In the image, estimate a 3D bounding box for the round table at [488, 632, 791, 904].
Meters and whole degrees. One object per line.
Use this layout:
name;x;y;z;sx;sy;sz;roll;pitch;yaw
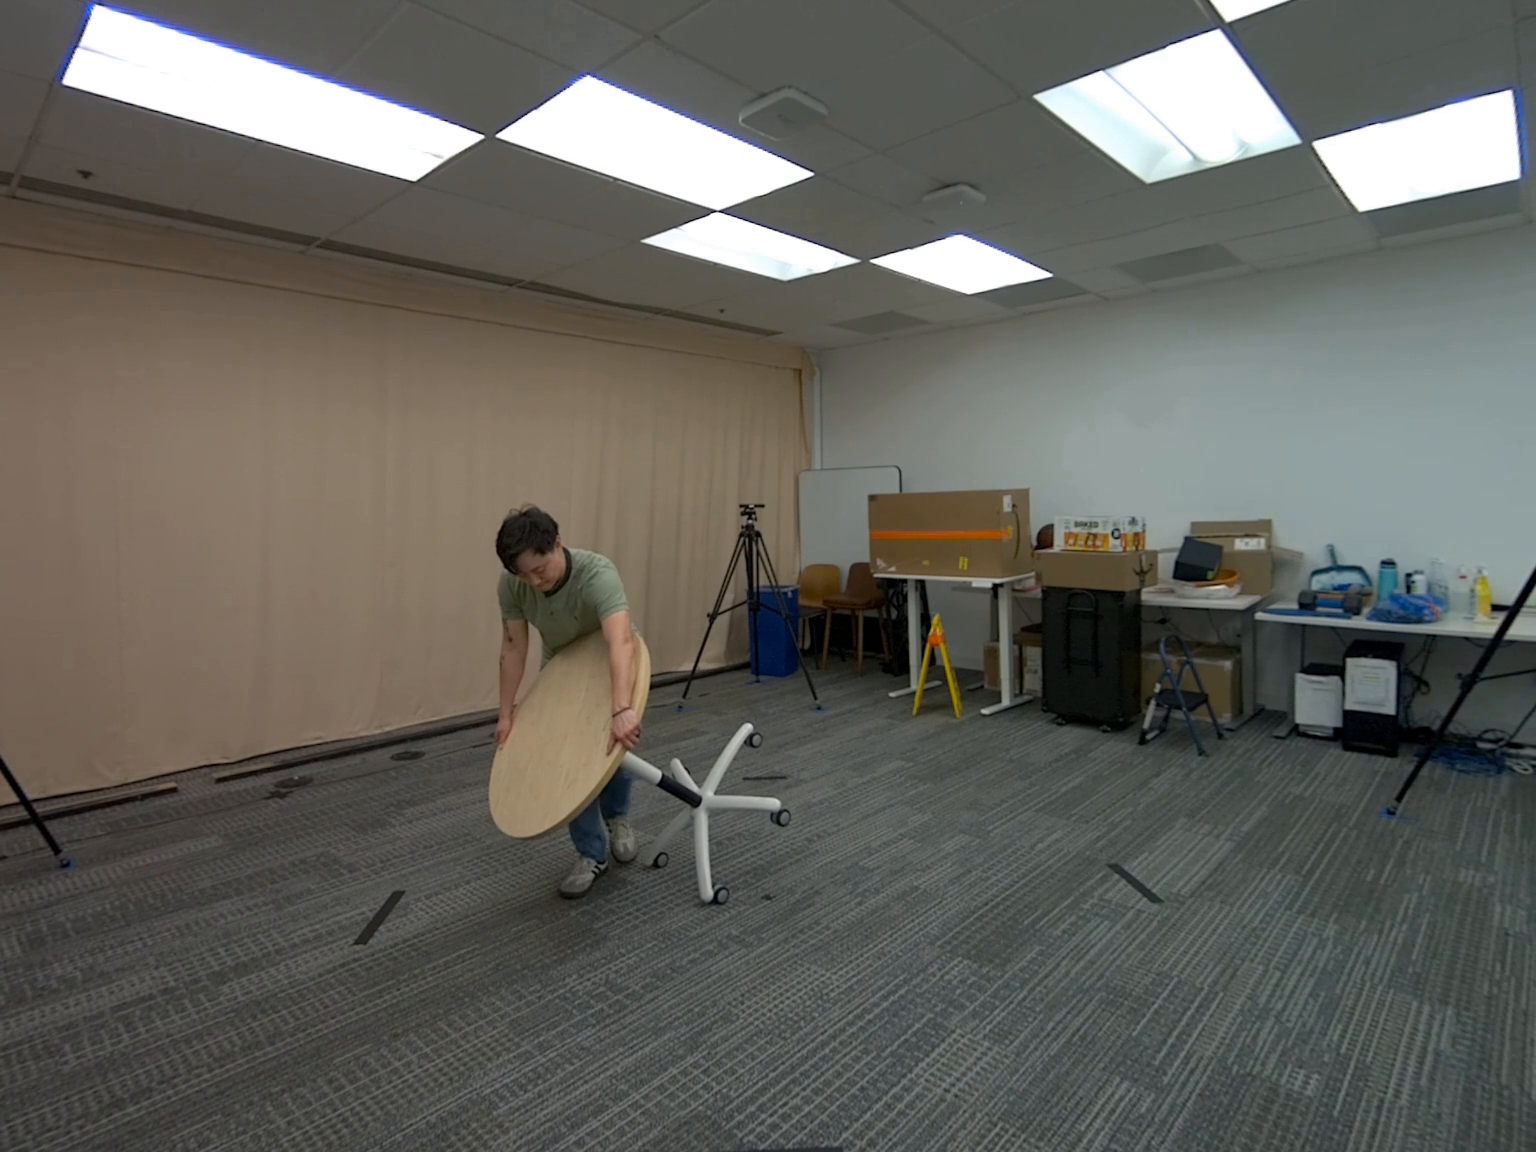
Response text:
round table;-0.413;0.695;2.993;0.768;0.764;0.789;40;-21;-32
